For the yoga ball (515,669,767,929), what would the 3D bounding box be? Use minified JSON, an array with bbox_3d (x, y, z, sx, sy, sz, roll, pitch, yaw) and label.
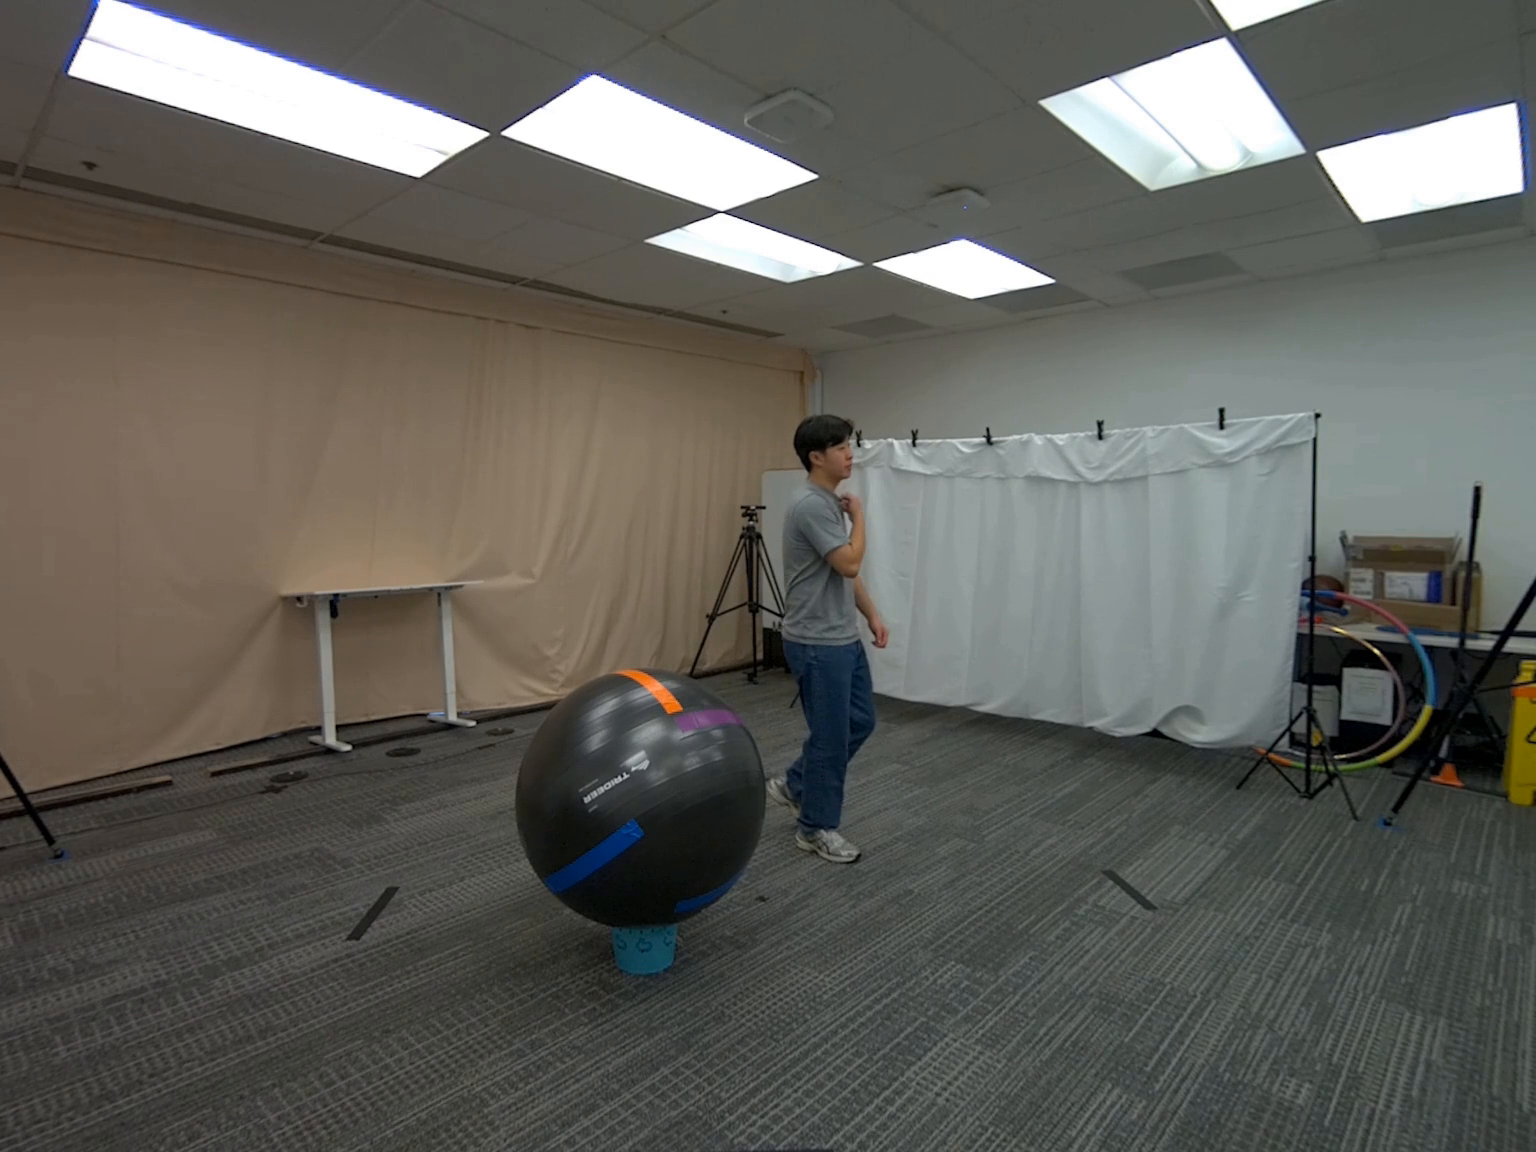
[{"bbox_3d":[-0.394,0.669,2.569,0.757,0.756,0.761,0,4,-2],"label":"yoga ball"}]
